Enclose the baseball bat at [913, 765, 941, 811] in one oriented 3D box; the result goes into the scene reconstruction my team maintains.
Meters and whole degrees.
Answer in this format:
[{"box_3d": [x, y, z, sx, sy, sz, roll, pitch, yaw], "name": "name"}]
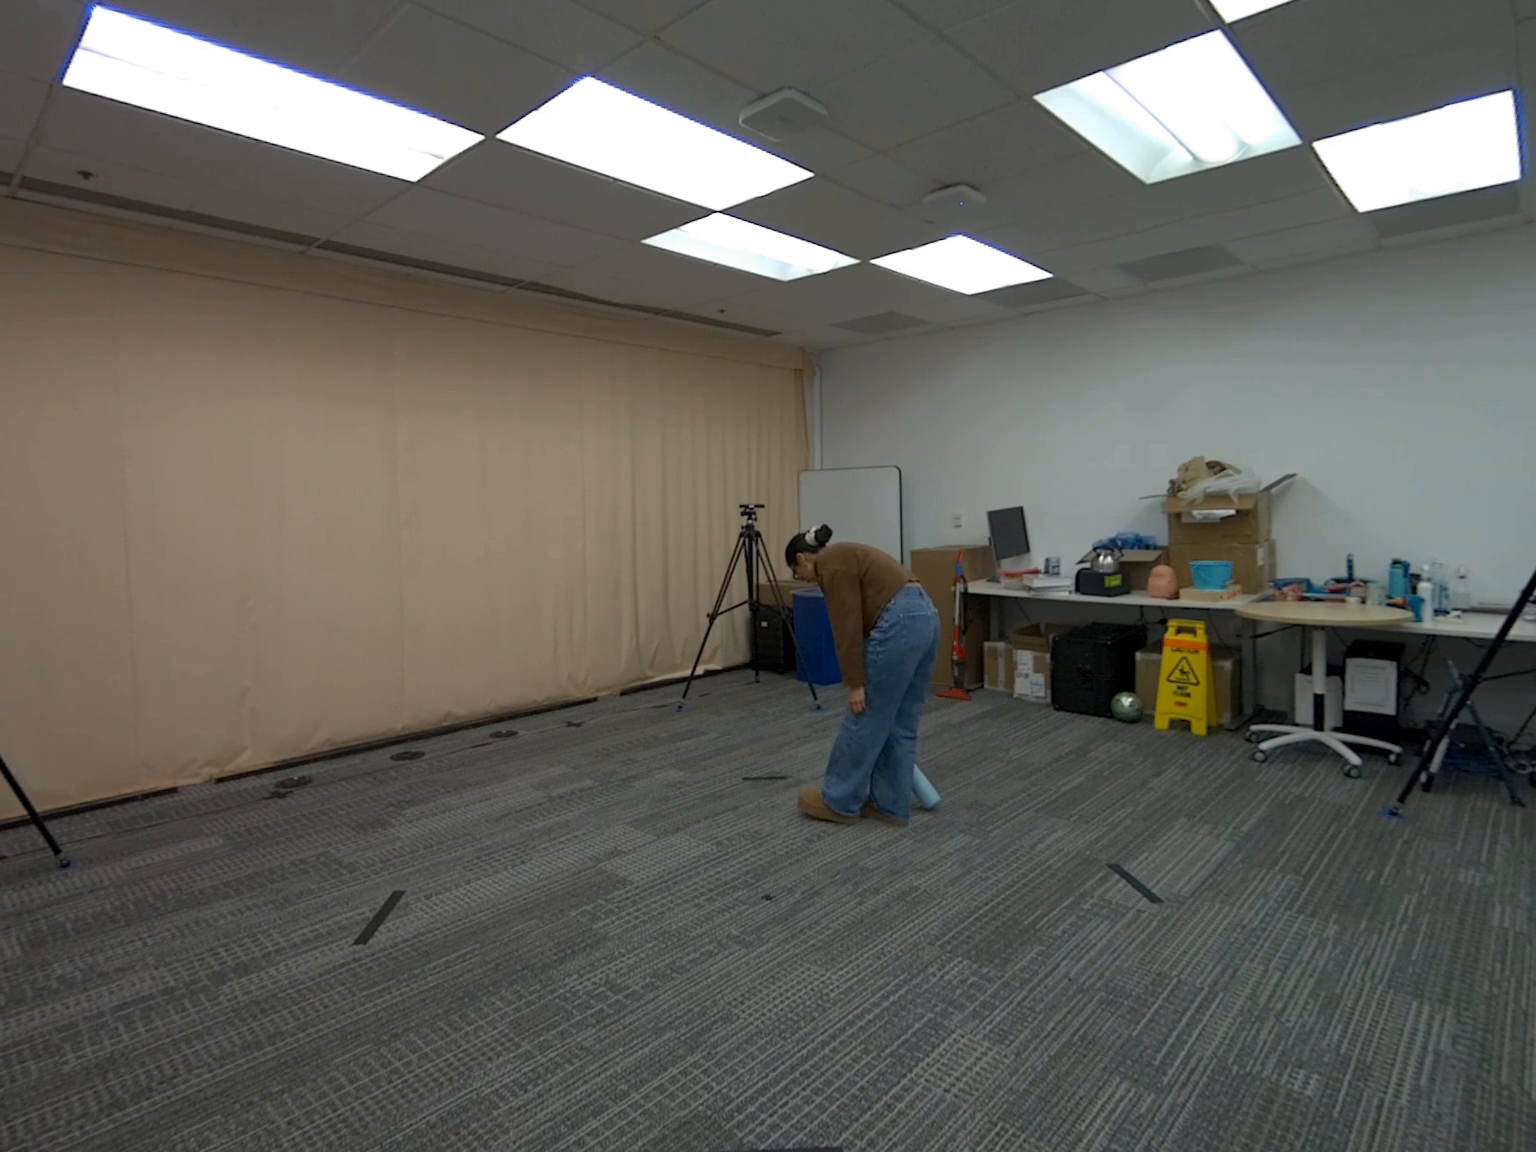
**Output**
[{"box_3d": [0.608, 0.838, 3.908, 0.088, 0.557, 0.087, -28, -26, -16], "name": "baseball bat"}]
